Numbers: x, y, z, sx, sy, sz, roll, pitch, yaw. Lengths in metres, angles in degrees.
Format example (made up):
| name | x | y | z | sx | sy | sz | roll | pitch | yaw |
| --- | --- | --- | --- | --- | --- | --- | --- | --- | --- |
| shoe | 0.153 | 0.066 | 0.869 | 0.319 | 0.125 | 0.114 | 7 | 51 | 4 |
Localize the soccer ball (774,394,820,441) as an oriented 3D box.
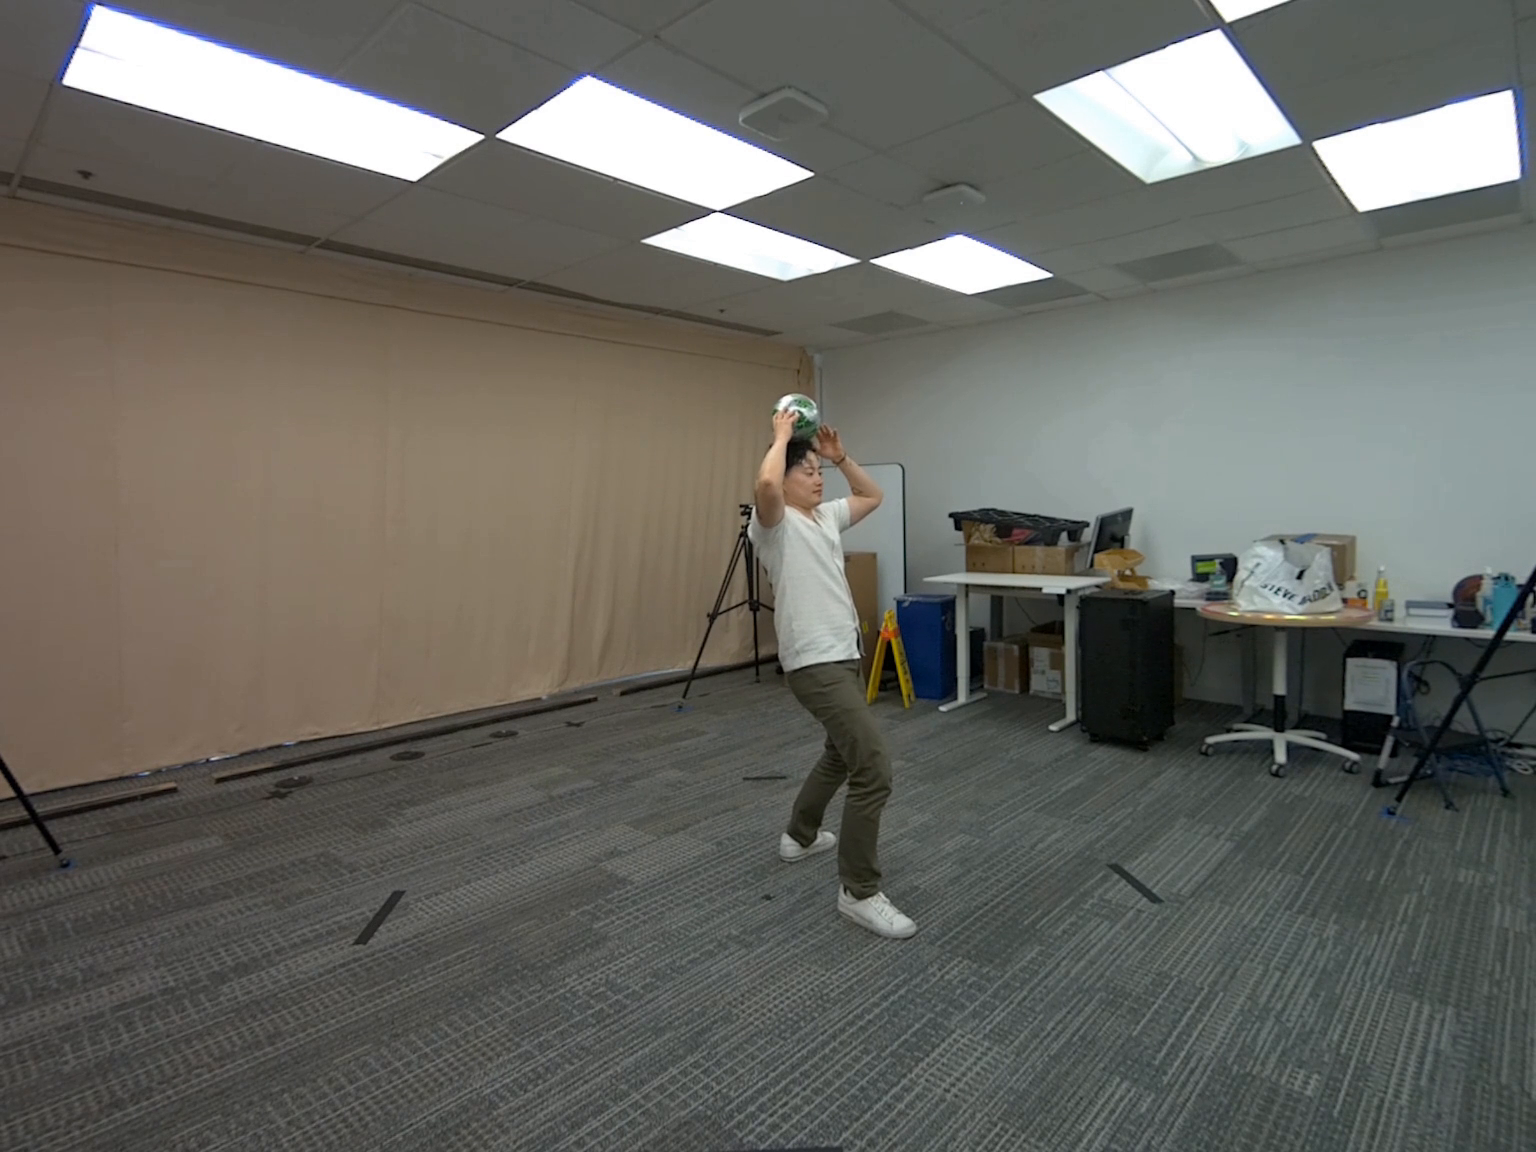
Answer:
| name | x | y | z | sx | sy | sz | roll | pitch | yaw |
| --- | --- | --- | --- | --- | --- | --- | --- | --- | --- |
| soccer ball | 0.098 | -0.576 | 3.095 | 0.187 | 0.187 | 0.188 | -1 | 4 | -2 |
